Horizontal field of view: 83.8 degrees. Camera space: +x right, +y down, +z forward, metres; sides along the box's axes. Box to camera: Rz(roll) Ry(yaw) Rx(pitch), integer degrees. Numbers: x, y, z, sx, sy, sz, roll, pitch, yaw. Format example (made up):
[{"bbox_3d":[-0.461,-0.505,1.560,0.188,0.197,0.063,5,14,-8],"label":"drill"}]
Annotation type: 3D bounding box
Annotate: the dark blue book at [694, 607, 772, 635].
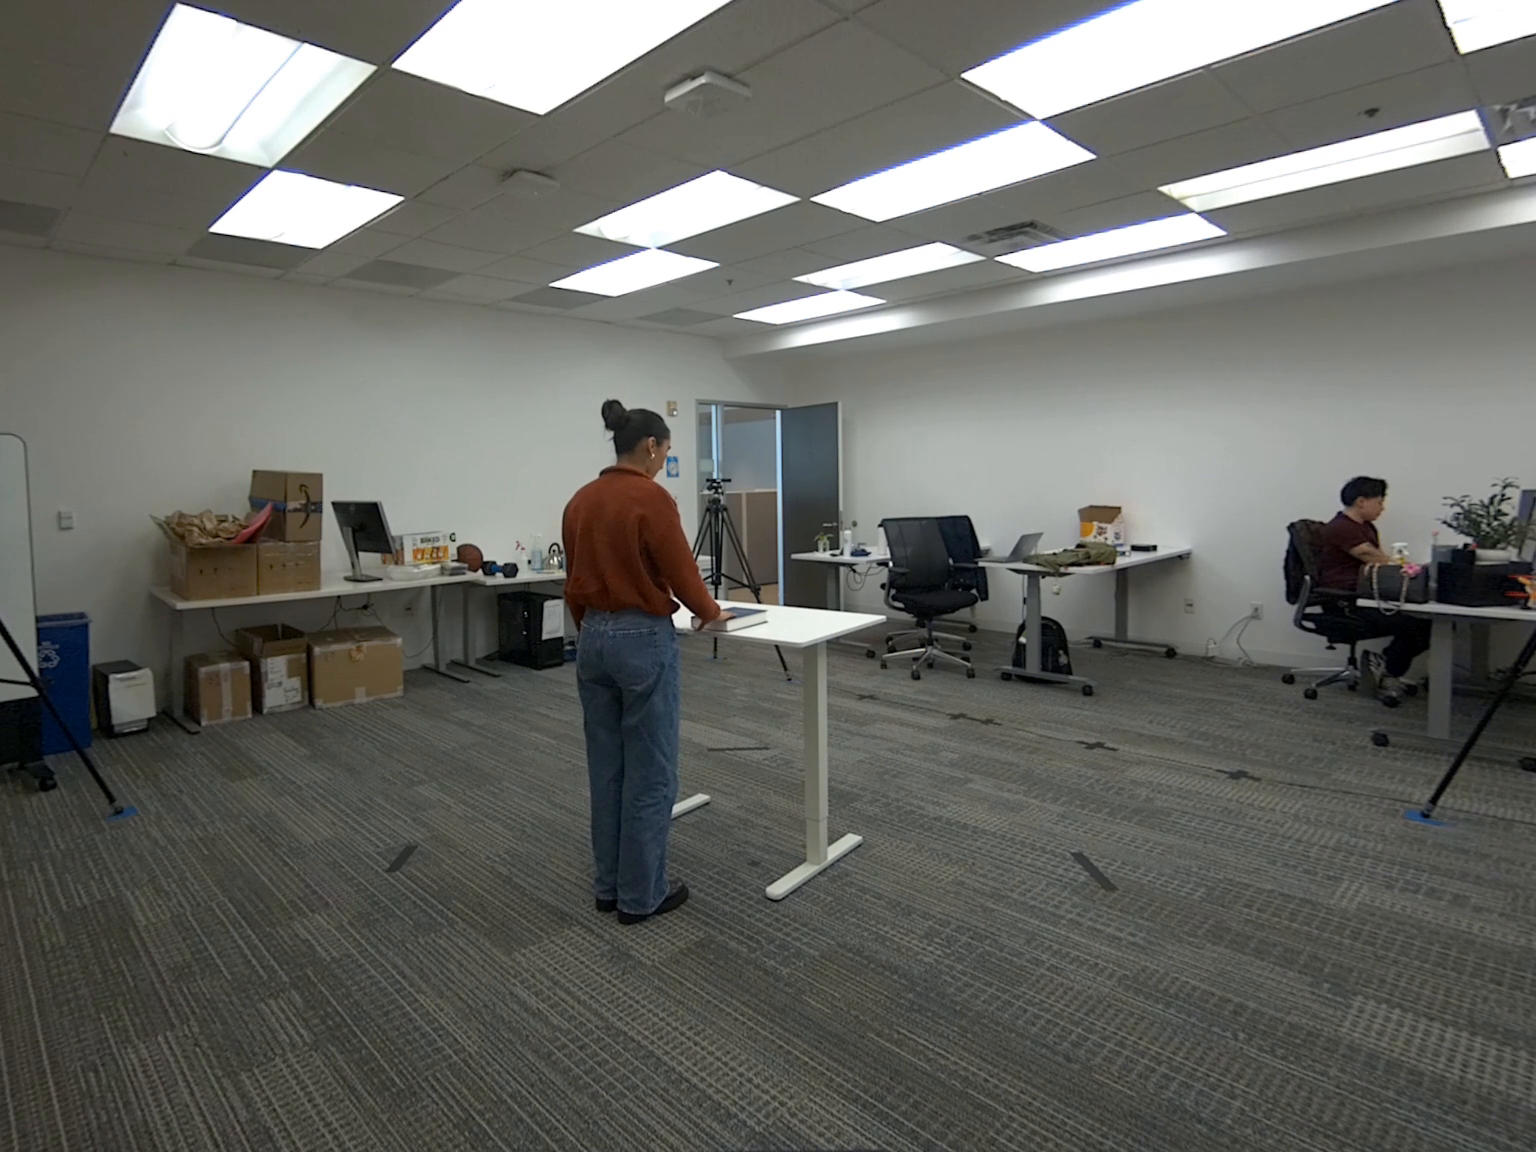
[{"bbox_3d":[-0.124,0.155,3.024,0.168,0.045,0.240,3,8,32],"label":"dark blue book"}]
